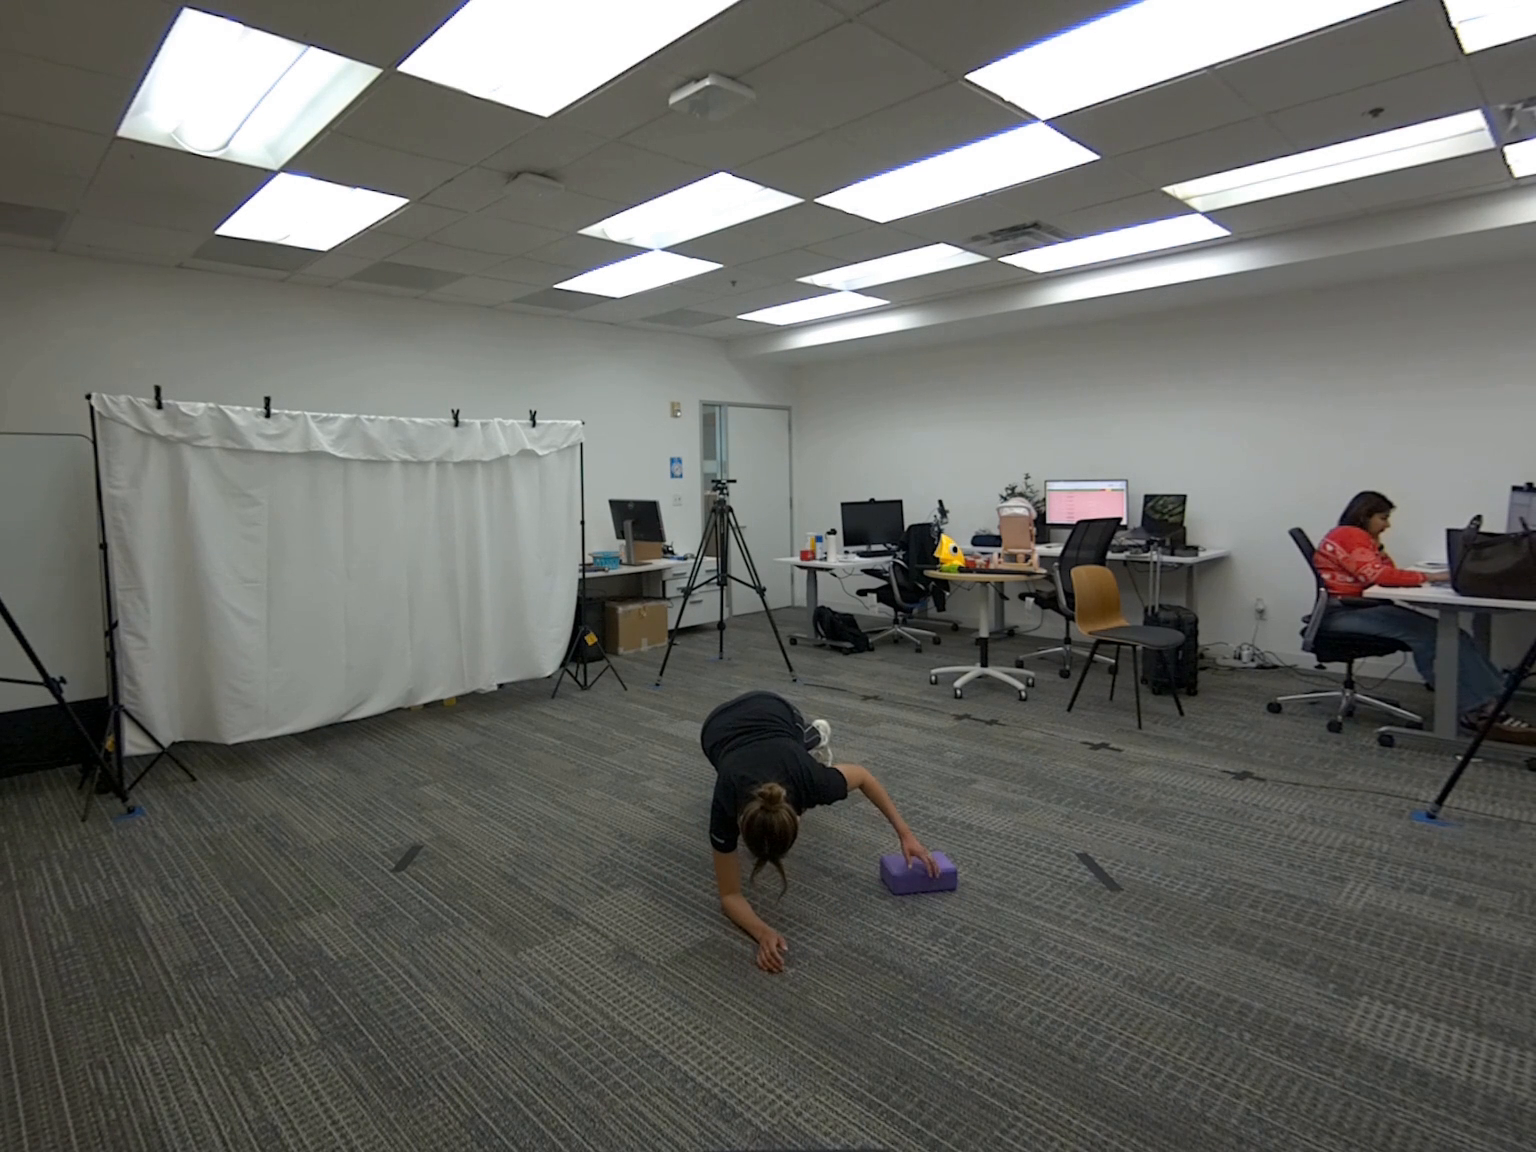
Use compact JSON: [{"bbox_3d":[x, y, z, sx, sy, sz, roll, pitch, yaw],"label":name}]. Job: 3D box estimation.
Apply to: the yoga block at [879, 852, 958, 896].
[{"bbox_3d":[0.518,1.012,2.926,0.227,0.076,0.151,-2,5,-9],"label":"yoga block"}]
